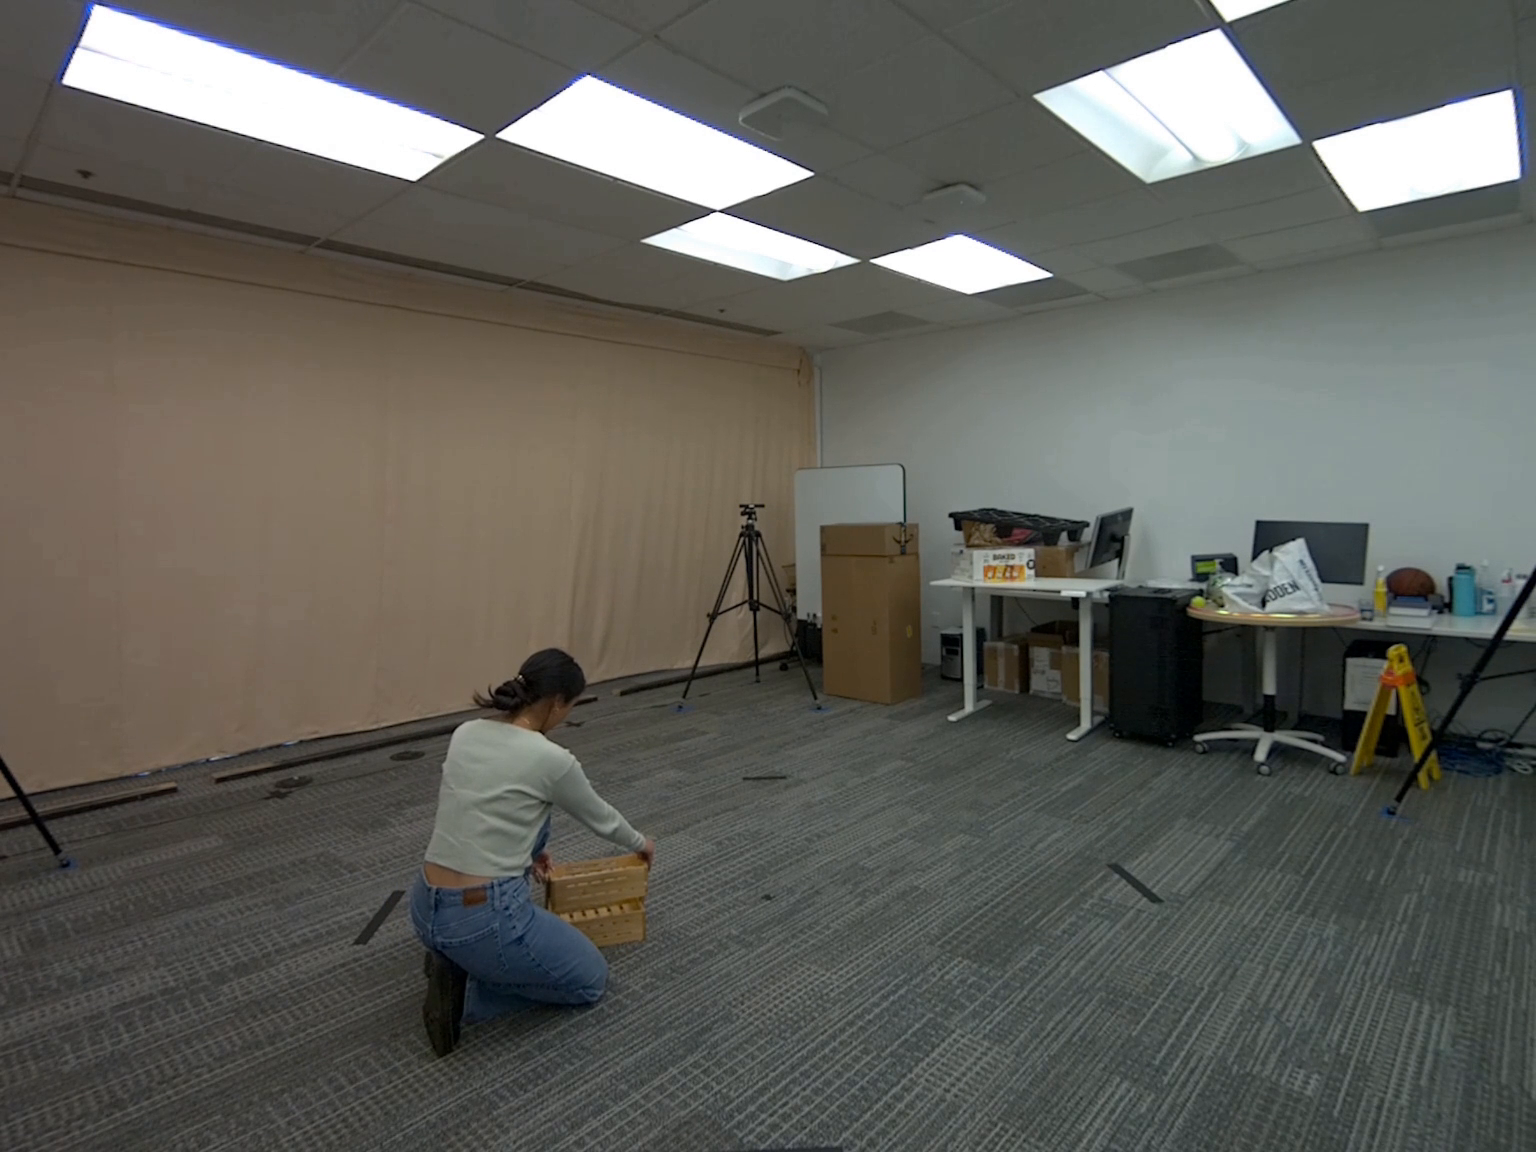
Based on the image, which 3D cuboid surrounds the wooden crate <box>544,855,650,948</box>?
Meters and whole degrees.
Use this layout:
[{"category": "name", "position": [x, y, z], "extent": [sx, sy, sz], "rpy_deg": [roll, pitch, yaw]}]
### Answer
[{"category": "wooden crate", "position": [-0.571, 1.037, 2.761], "extent": [0.319, 0.272, 0.308], "rpy_deg": [-2, 5, -18]}]
